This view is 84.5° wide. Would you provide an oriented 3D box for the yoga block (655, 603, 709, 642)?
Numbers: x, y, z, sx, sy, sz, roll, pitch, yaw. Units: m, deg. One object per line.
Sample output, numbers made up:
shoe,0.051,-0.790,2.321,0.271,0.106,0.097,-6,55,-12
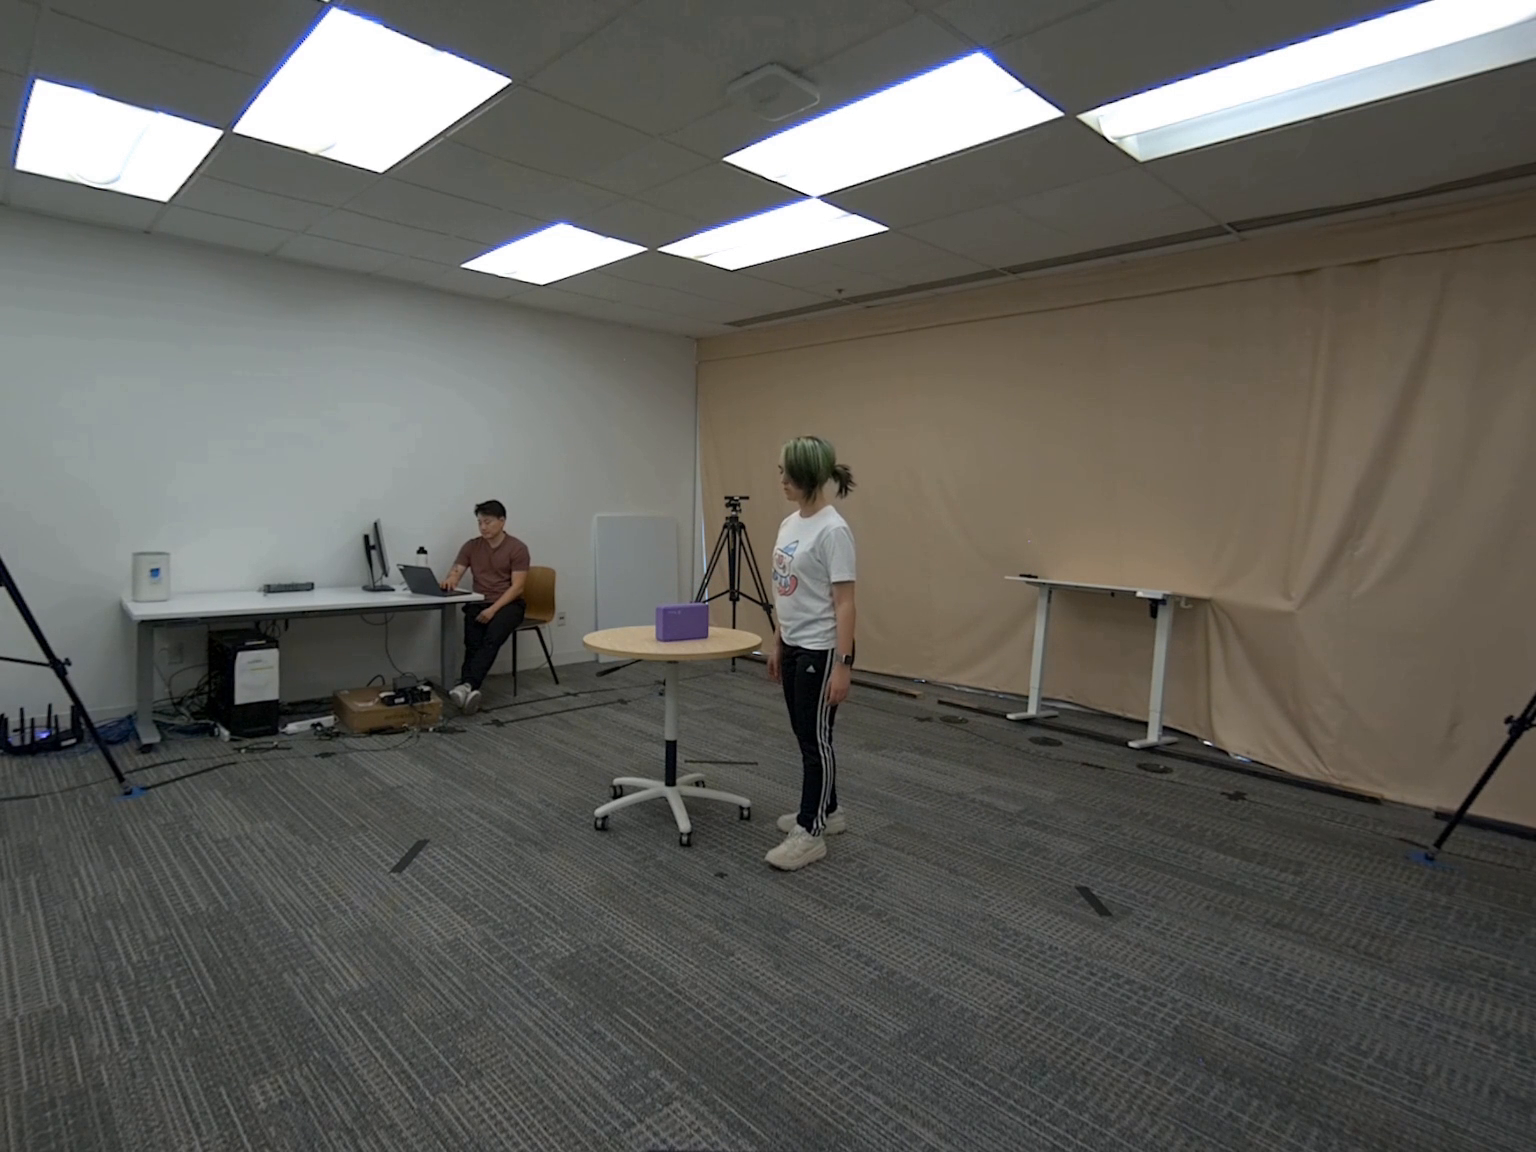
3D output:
yoga block,-0.371,0.193,3.604,0.224,0.149,0.078,-2,3,-36
